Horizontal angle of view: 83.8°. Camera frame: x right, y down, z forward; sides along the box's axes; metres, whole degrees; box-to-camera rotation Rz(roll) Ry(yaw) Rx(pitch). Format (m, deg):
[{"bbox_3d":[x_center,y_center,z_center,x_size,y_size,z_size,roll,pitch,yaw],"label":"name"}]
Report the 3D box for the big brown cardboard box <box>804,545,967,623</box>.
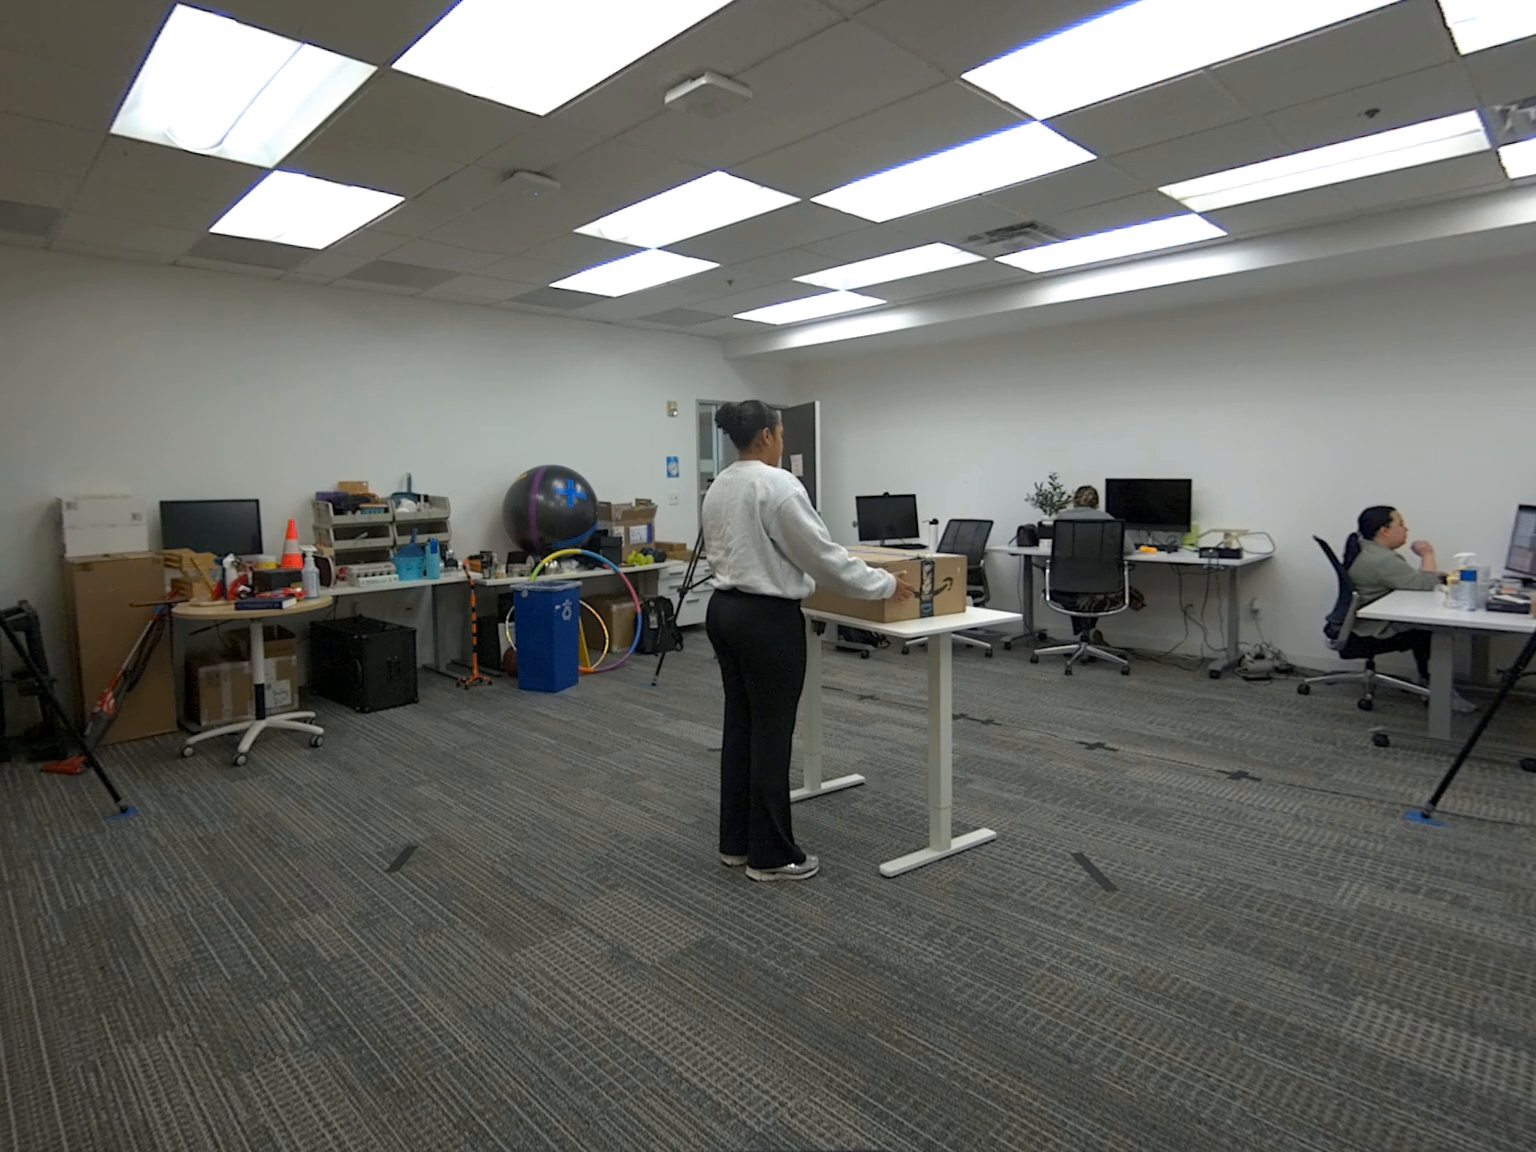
[{"bbox_3d":[0.418,0.019,3.343,0.407,0.232,0.606,-5,7,-33],"label":"big brown cardboard box"}]
